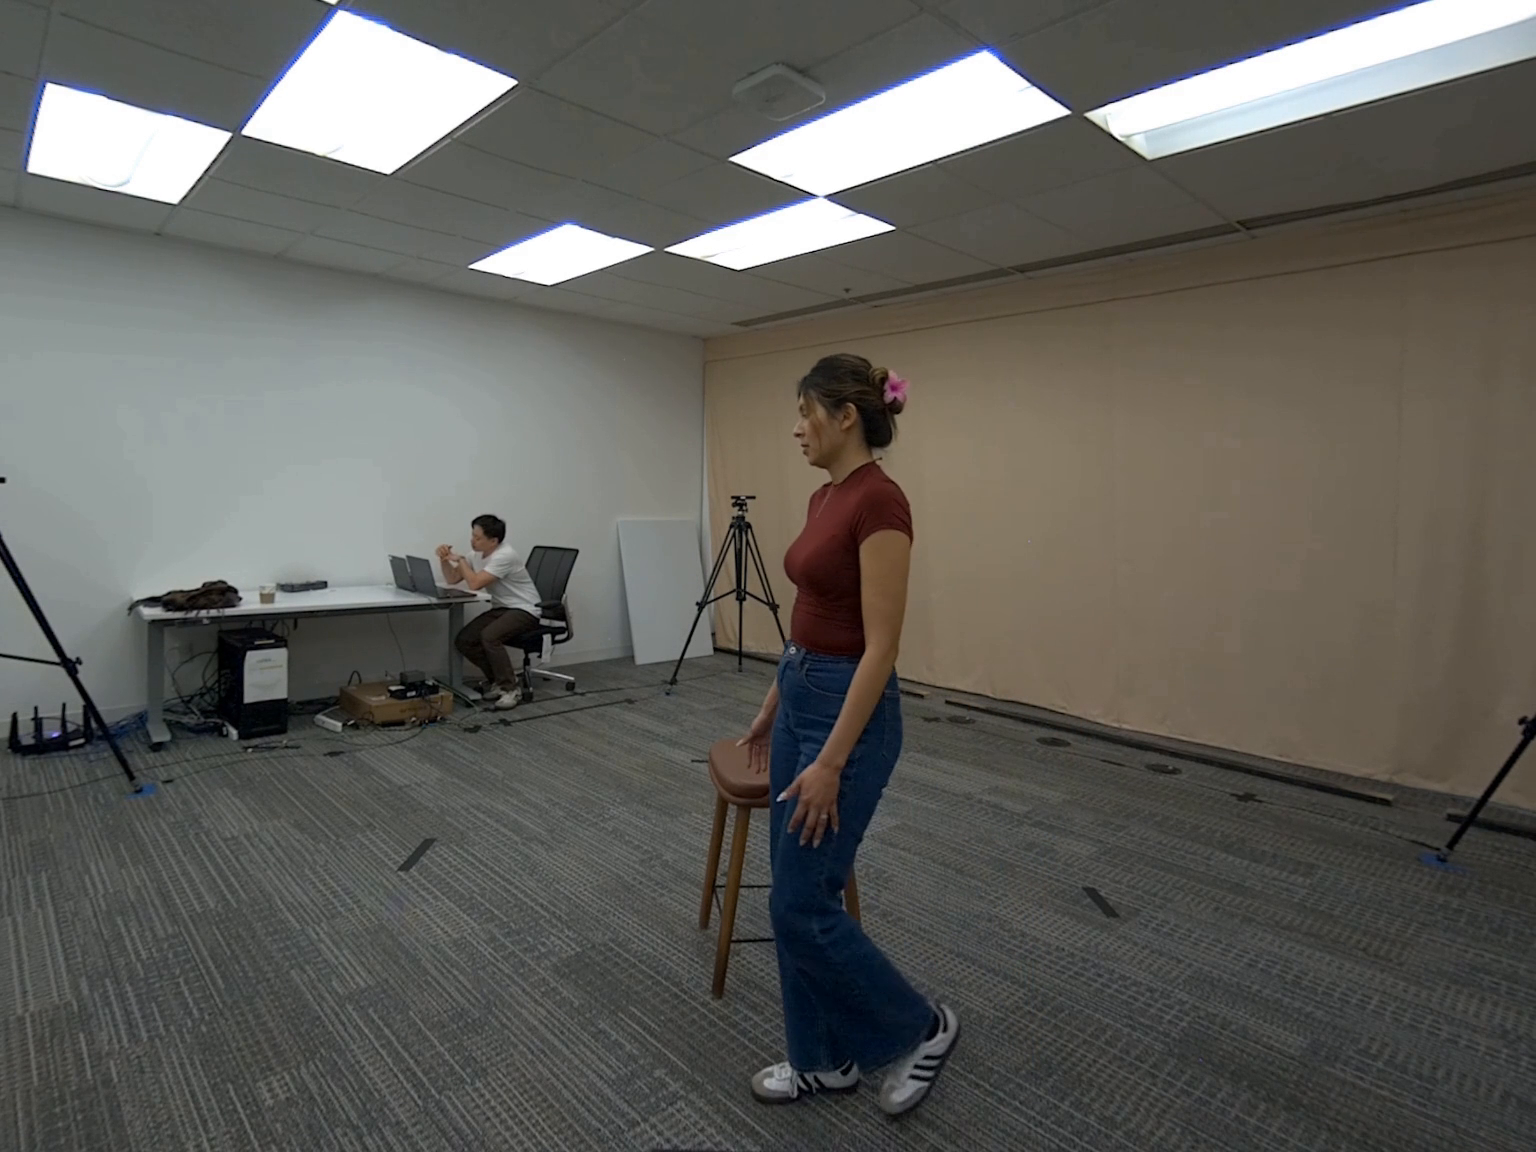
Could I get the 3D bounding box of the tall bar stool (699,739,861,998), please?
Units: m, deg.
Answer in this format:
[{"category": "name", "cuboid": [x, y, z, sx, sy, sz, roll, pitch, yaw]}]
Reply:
[{"category": "tall bar stool", "cuboid": [0.044, 0.730, 2.532, 0.464, 0.887, 0.461, 2, 4, -10]}]
